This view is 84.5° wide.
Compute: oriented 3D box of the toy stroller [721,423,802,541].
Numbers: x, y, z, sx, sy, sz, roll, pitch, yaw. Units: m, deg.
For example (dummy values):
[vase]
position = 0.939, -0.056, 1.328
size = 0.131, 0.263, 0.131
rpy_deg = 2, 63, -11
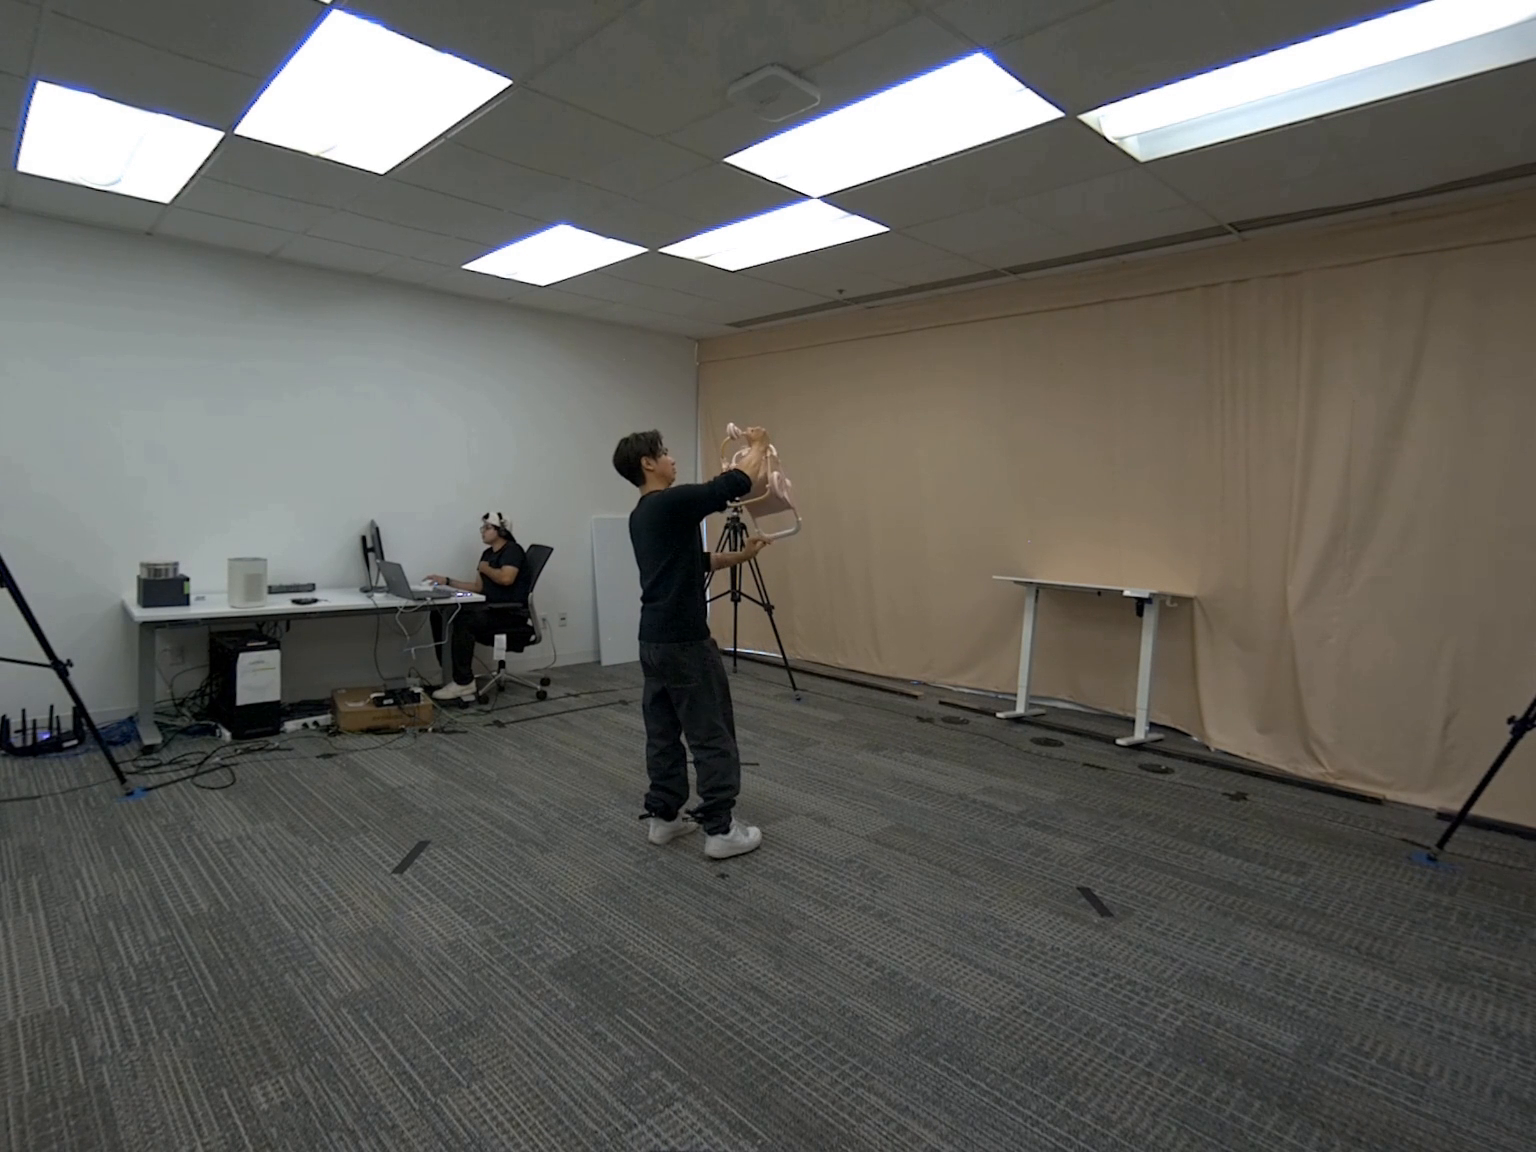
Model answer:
[toy stroller]
position = -0.057, -0.391, 3.505
size = 0.284, 0.347, 0.521
rpy_deg = -19, -22, 16
